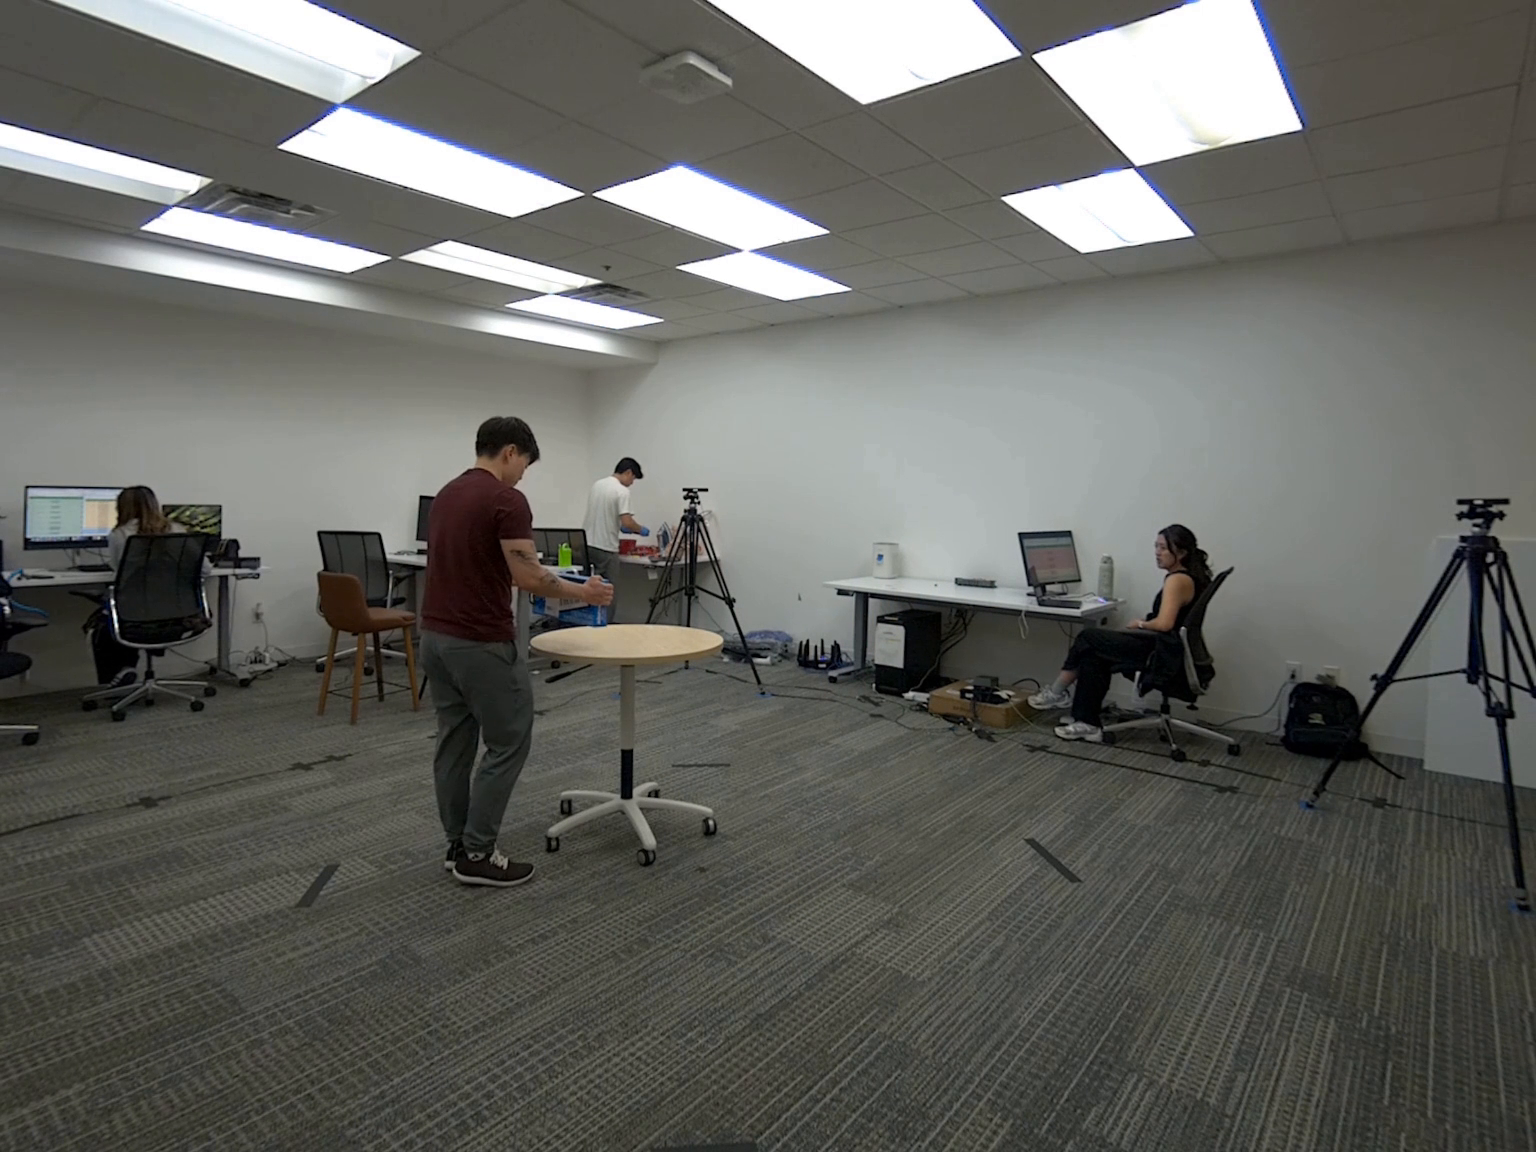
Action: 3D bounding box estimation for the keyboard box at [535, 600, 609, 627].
[{"bbox_3d":[-0.783,0.091,3.266,0.452,0.176,0.057,6,4,45],"label":"keyboard box"}]
